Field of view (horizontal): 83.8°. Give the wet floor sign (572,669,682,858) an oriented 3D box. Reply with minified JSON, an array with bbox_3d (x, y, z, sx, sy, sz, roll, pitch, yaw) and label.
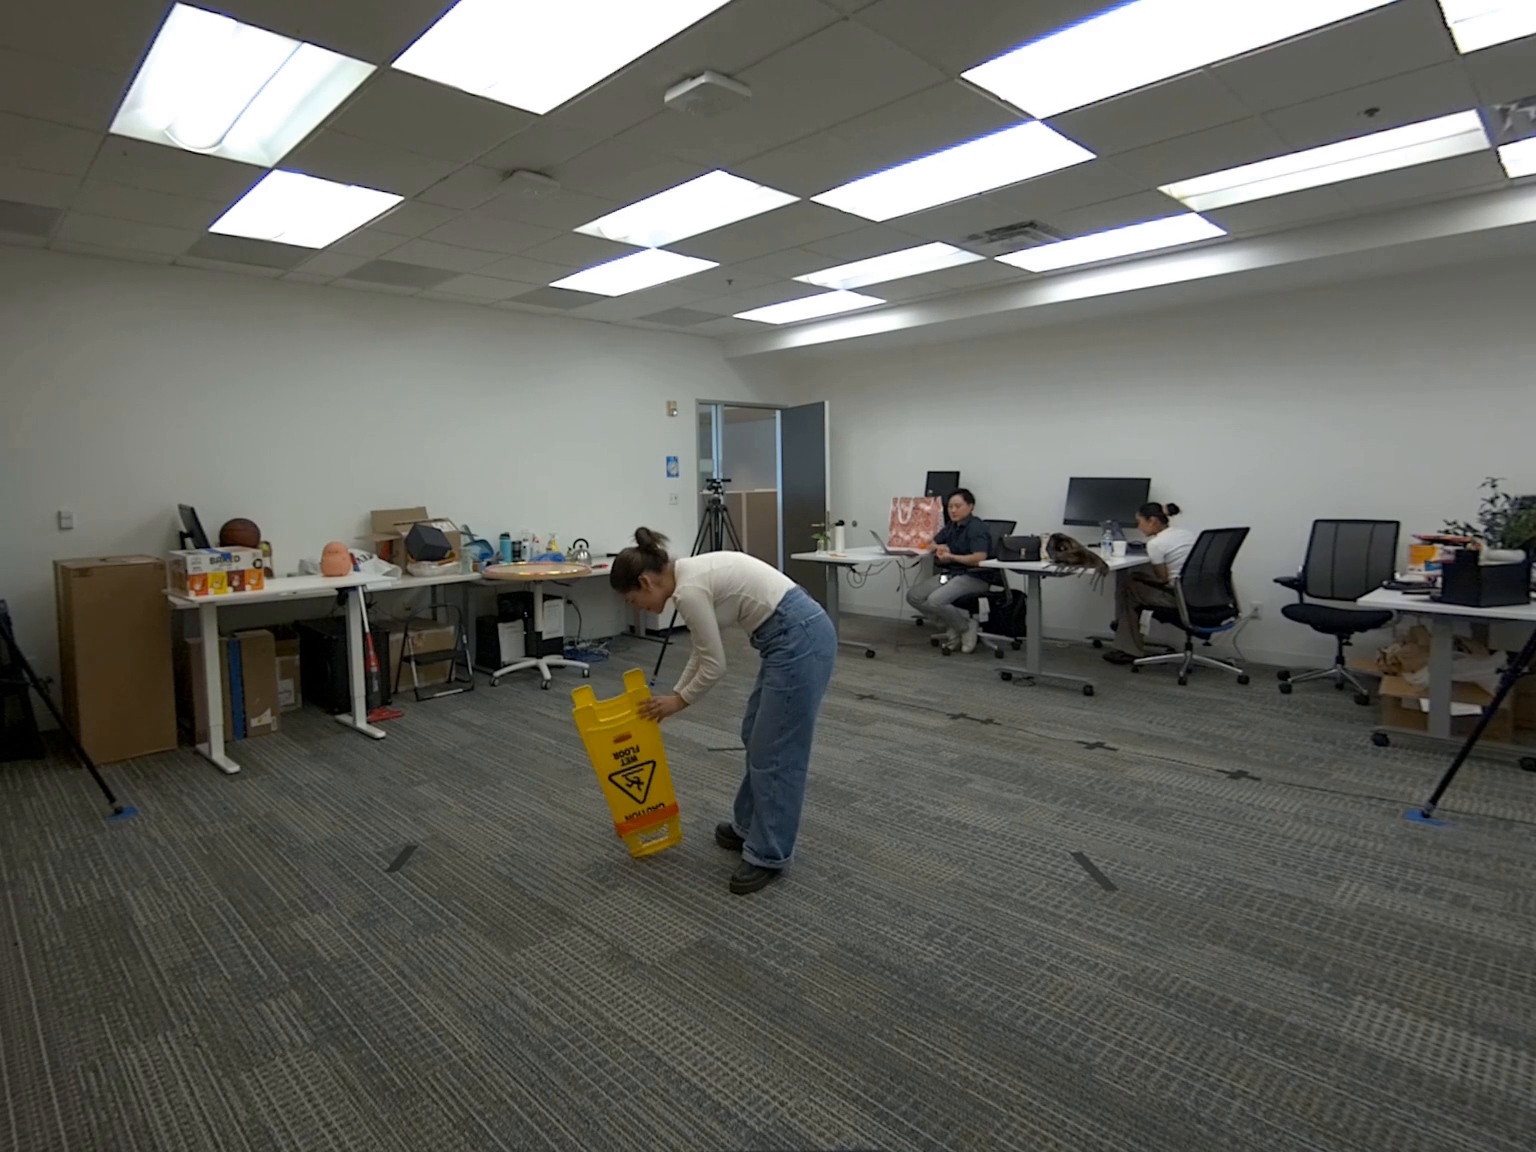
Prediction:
[{"bbox_3d":[-0.495,0.721,3.147,0.281,0.642,0.293,-17,6,-9],"label":"wet floor sign"}]
